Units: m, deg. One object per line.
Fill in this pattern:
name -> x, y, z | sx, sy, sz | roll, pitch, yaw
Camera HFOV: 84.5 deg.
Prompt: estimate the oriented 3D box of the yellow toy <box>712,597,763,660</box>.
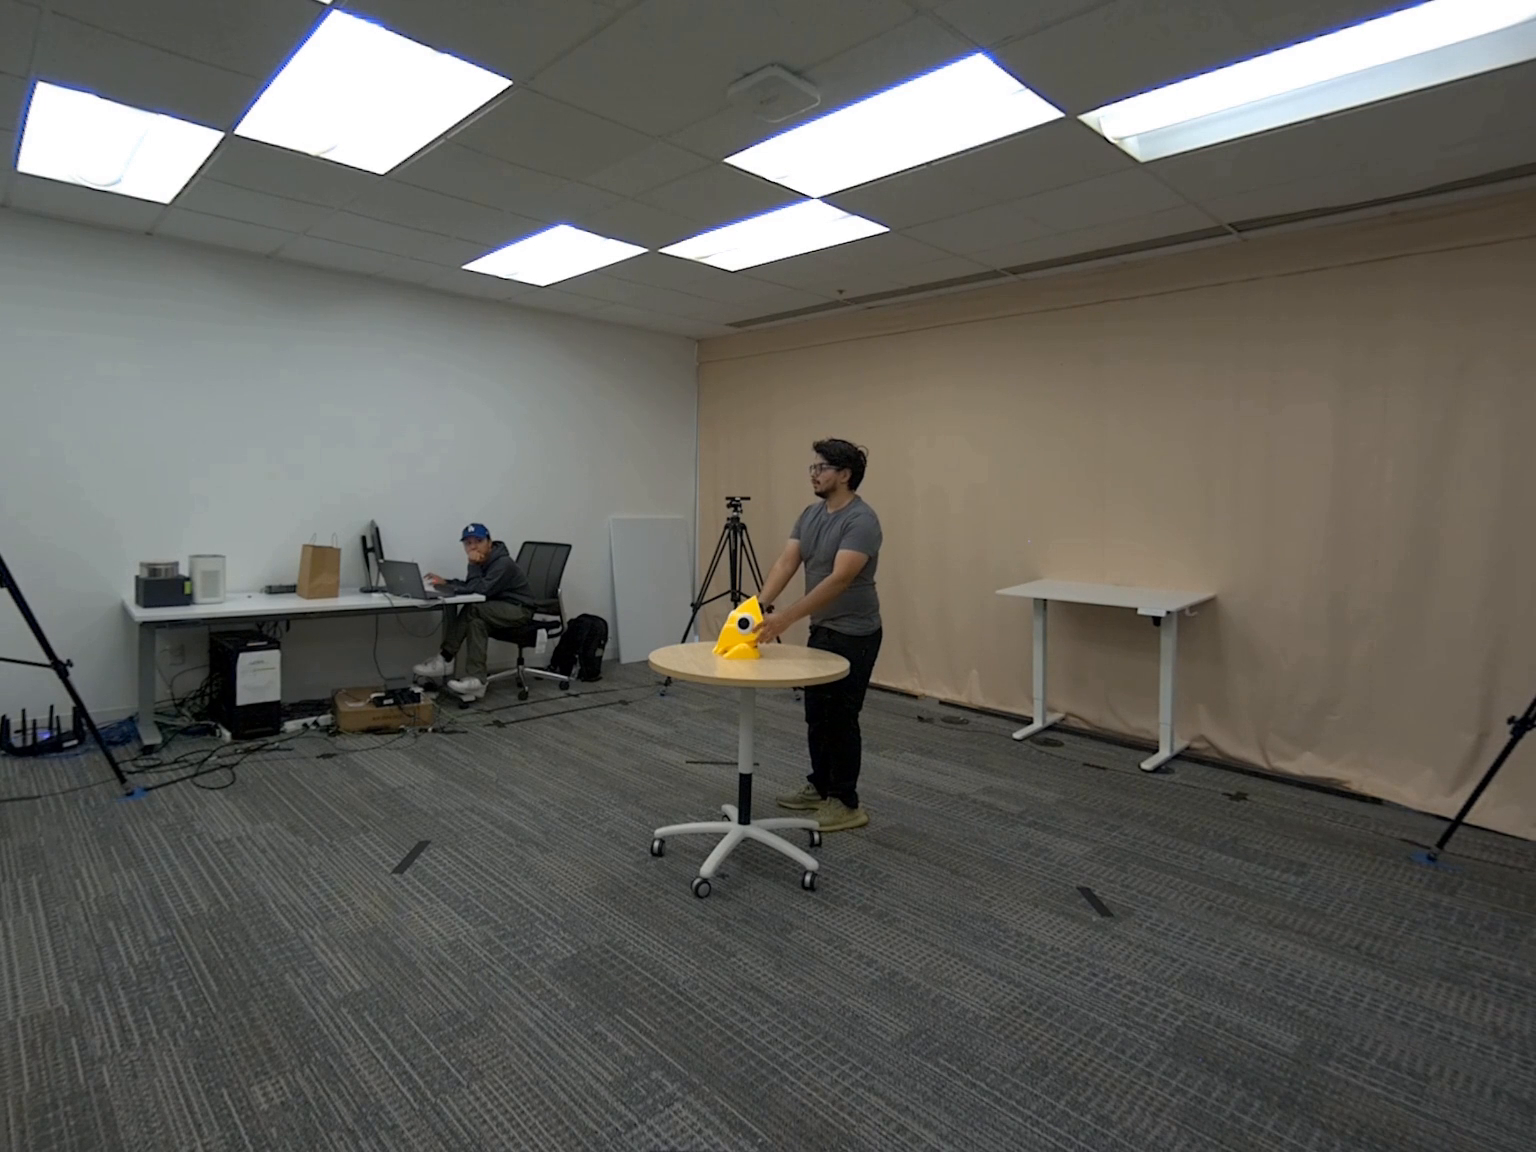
yellow toy -> -0.114, 0.195, 3.288 | 0.190, 0.230, 0.208 | 0, 4, -21
